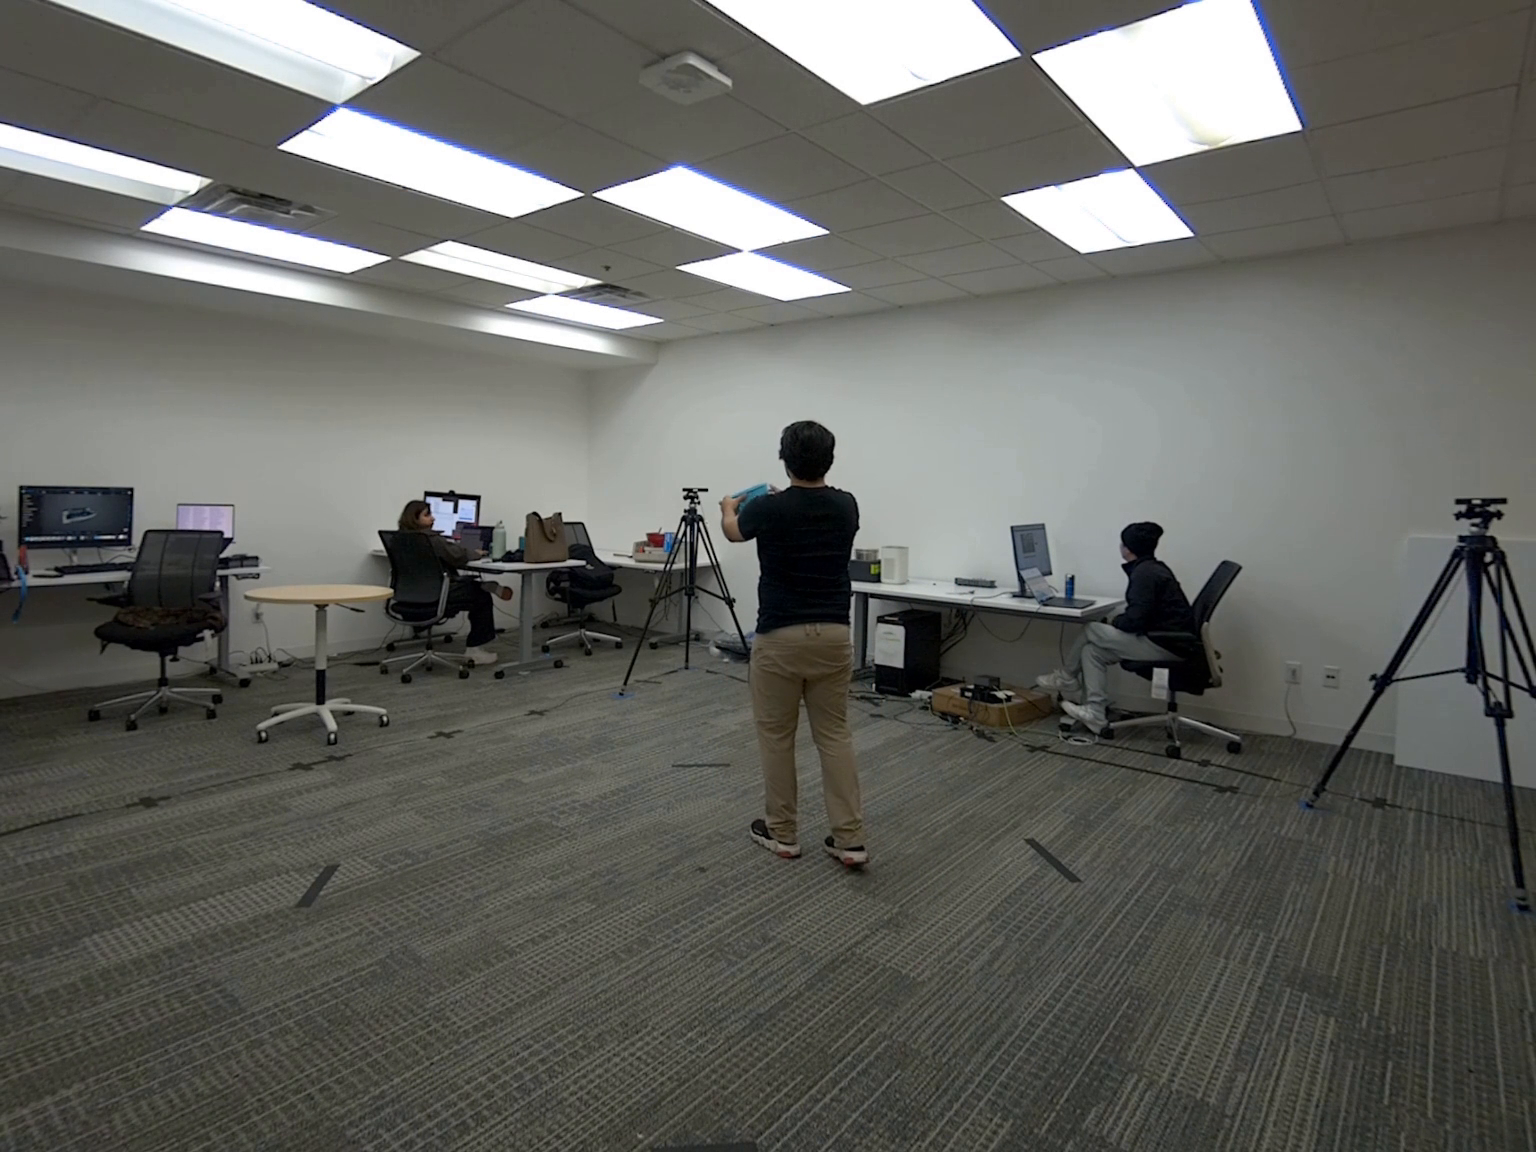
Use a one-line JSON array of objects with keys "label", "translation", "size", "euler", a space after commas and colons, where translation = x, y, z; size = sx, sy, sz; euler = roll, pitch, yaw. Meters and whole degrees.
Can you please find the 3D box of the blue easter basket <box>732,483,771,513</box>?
[{"label": "blue easter basket", "translation": [-0.084, -0.305, 3.800], "size": [0.244, 0.155, 0.245], "euler": [-21, 6, 0]}]
